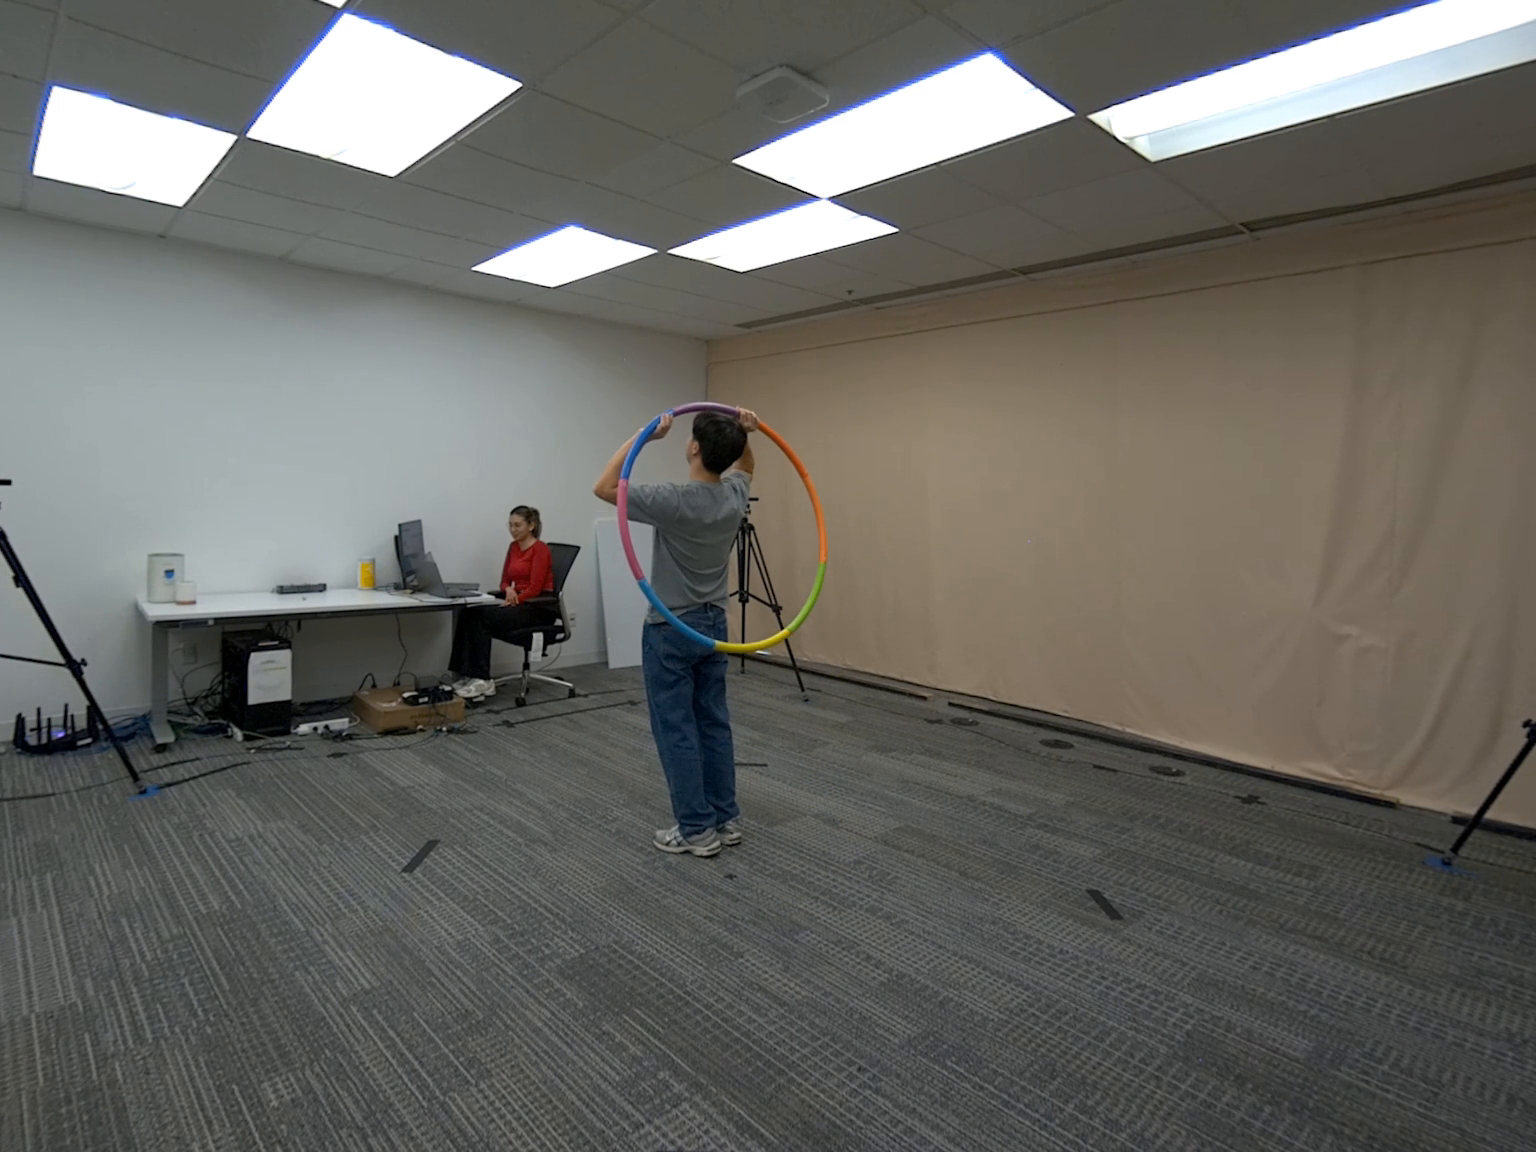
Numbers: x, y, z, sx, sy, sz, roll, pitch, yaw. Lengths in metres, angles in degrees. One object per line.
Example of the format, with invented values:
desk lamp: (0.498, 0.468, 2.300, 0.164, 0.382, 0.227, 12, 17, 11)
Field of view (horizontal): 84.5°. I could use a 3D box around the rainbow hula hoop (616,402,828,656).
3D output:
rainbow hula hoop: (-0.161, -0.208, 3.233, 0.956, 0.987, 0.036, -2, -12, -40)
